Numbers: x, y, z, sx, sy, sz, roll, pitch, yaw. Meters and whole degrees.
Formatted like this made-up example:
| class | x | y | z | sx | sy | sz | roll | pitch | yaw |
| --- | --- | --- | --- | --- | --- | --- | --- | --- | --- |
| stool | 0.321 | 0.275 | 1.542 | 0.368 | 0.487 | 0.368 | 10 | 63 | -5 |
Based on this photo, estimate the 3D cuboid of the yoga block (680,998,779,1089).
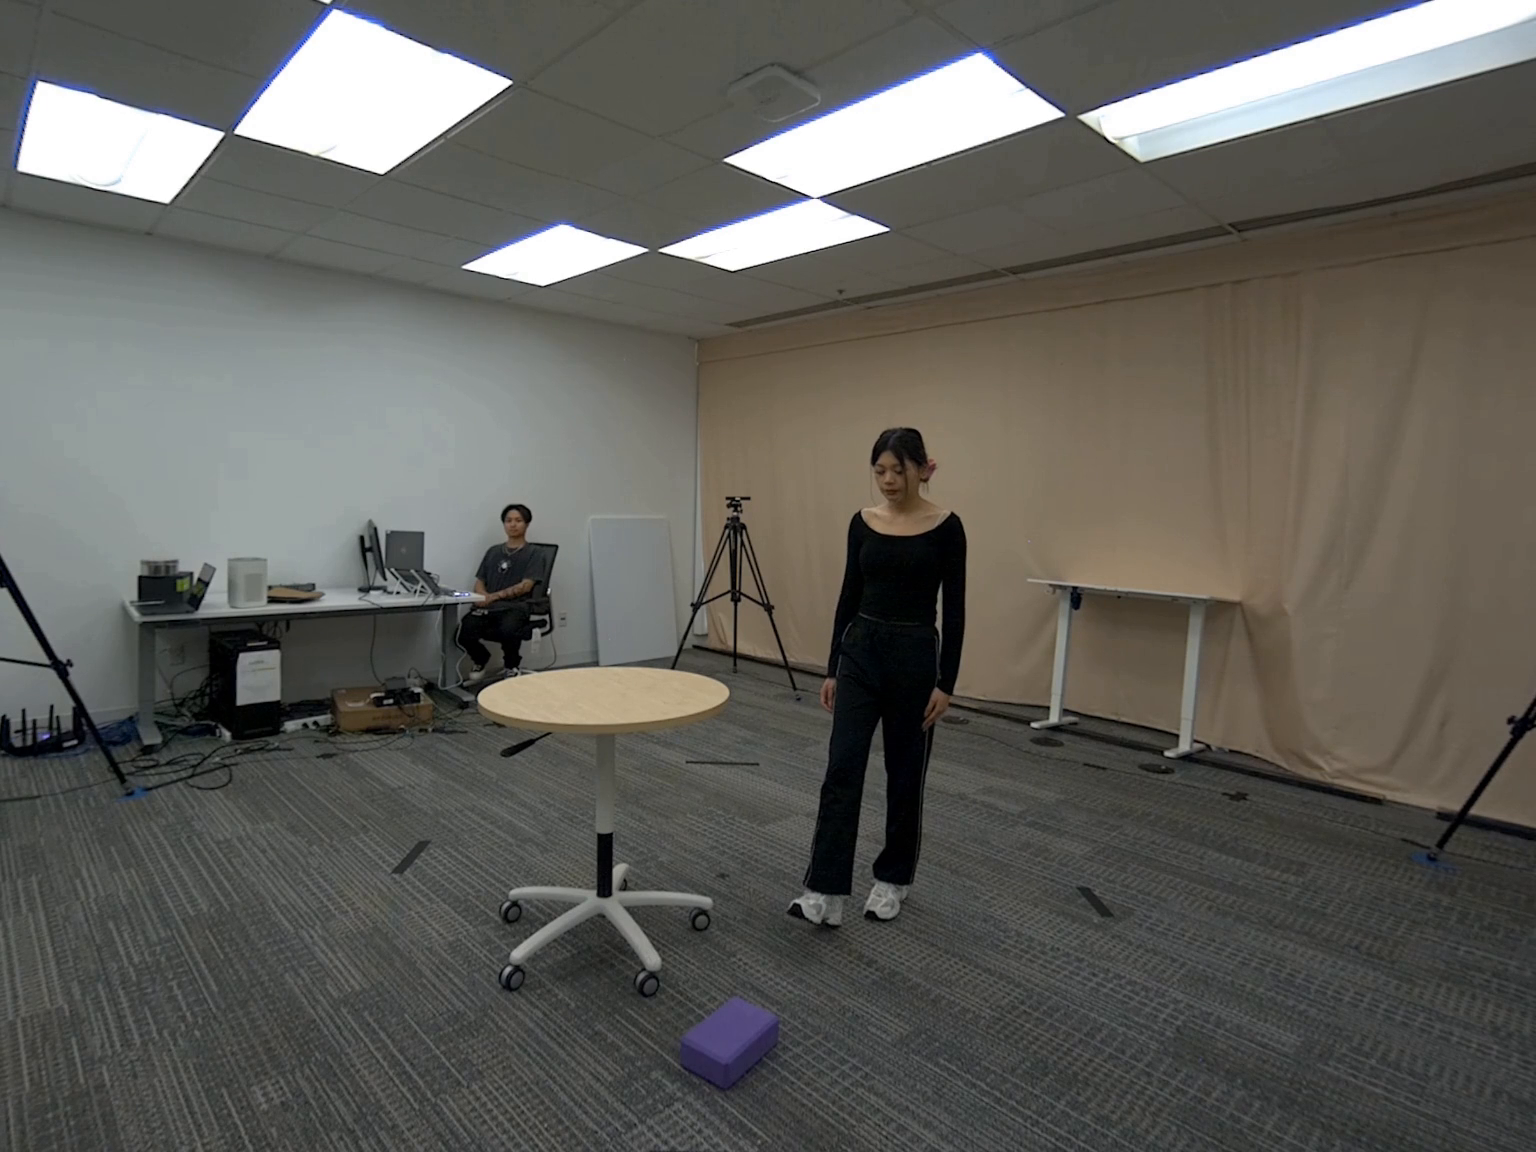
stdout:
| class | x | y | z | sx | sy | sz | roll | pitch | yaw |
| --- | --- | --- | --- | --- | --- | --- | --- | --- | --- |
| yoga block | -0.100 | 1.163 | 2.097 | 0.152 | 0.076 | 0.224 | 6 | 7 | 35 |
